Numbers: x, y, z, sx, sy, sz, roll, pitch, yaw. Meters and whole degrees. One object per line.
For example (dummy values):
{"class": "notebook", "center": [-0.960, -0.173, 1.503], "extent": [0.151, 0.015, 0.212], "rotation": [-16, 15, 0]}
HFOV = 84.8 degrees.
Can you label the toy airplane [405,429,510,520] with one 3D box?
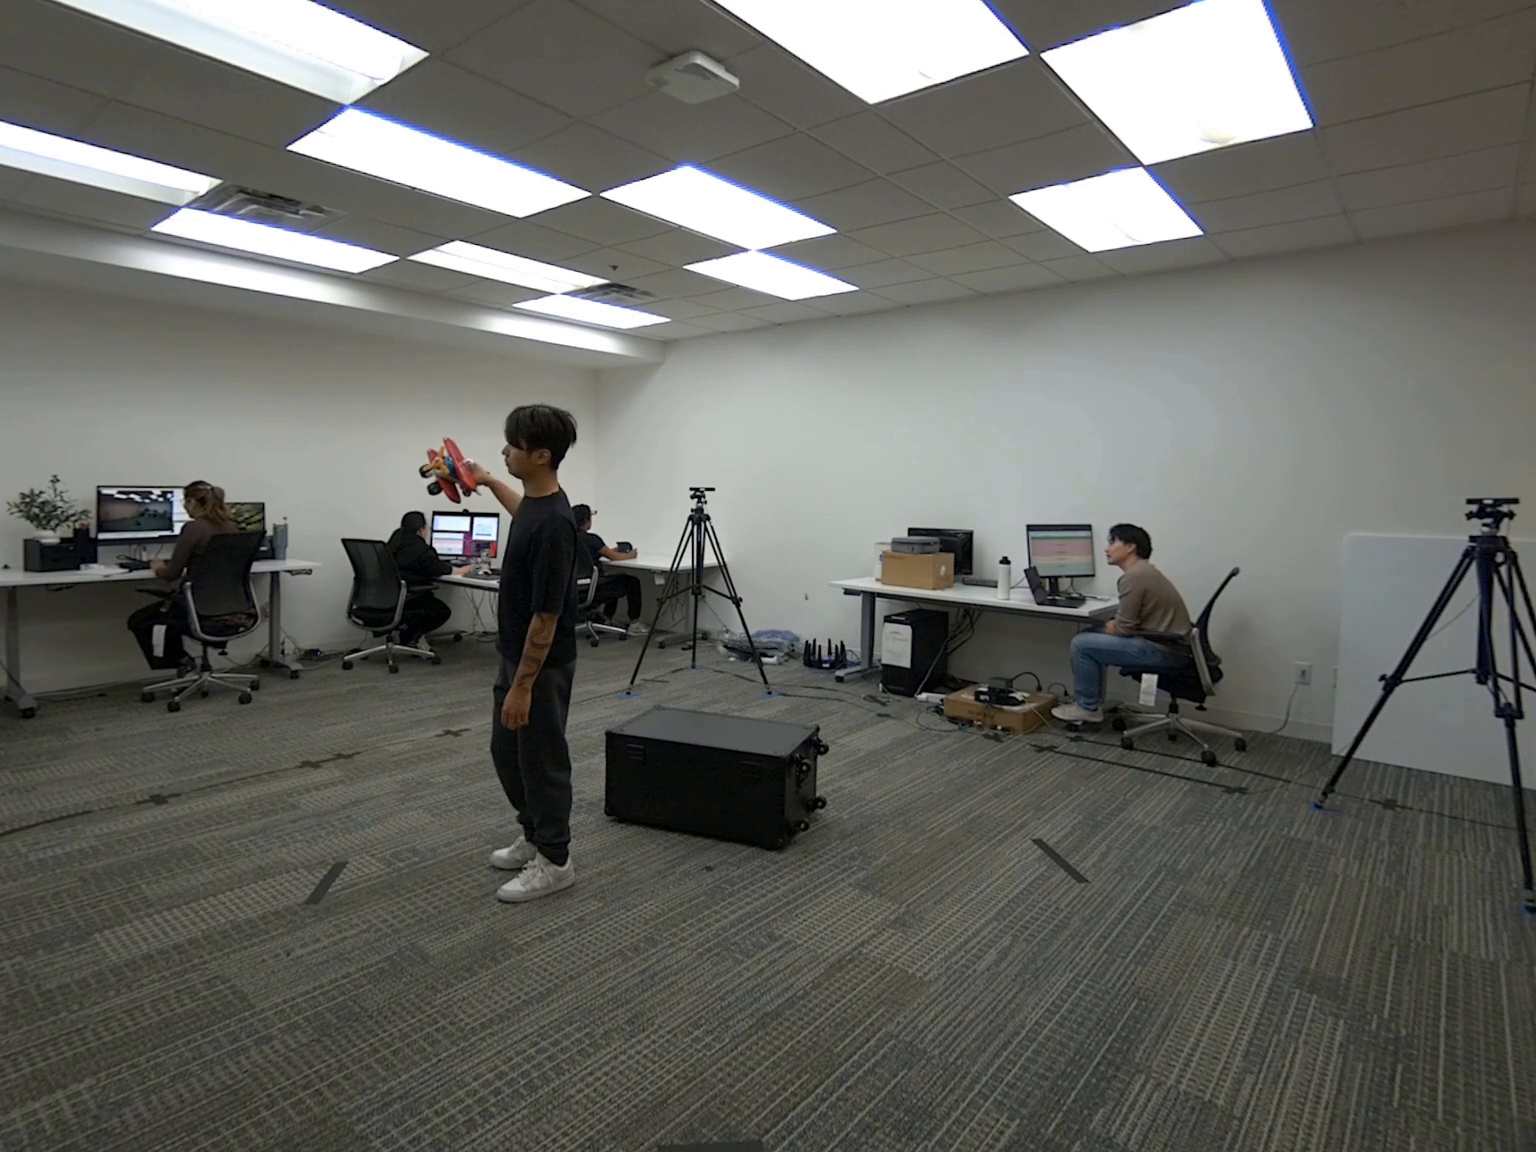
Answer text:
{"class": "toy airplane", "center": [-1.189, -0.396, 3.225], "extent": [0.157, 0.249, 0.260], "rotation": [-40, 6, 20]}
